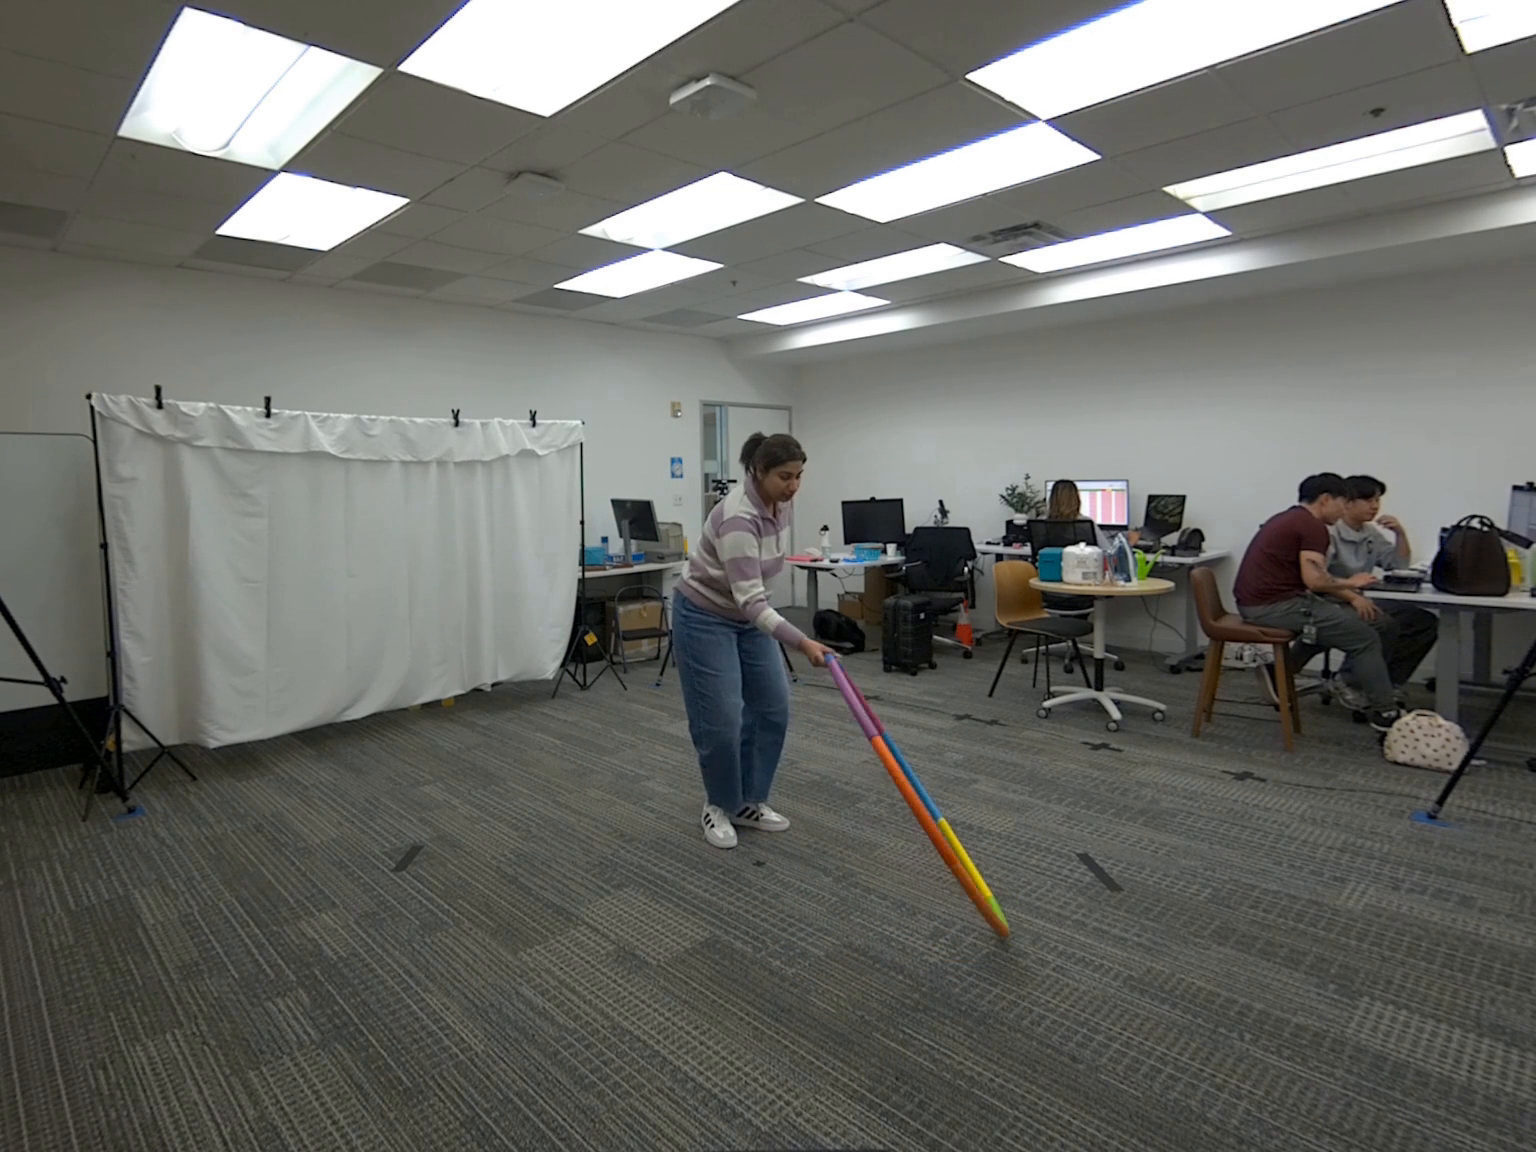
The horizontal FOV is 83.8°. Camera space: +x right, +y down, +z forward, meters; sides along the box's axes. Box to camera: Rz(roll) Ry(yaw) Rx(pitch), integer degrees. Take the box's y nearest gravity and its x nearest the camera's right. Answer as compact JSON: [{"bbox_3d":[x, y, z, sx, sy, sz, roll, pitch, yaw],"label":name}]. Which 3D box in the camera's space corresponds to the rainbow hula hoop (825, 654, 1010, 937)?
[{"bbox_3d":[0.455,0.671,2.721,0.052,0.983,0.988,-34,3,3],"label":"rainbow hula hoop"}]
